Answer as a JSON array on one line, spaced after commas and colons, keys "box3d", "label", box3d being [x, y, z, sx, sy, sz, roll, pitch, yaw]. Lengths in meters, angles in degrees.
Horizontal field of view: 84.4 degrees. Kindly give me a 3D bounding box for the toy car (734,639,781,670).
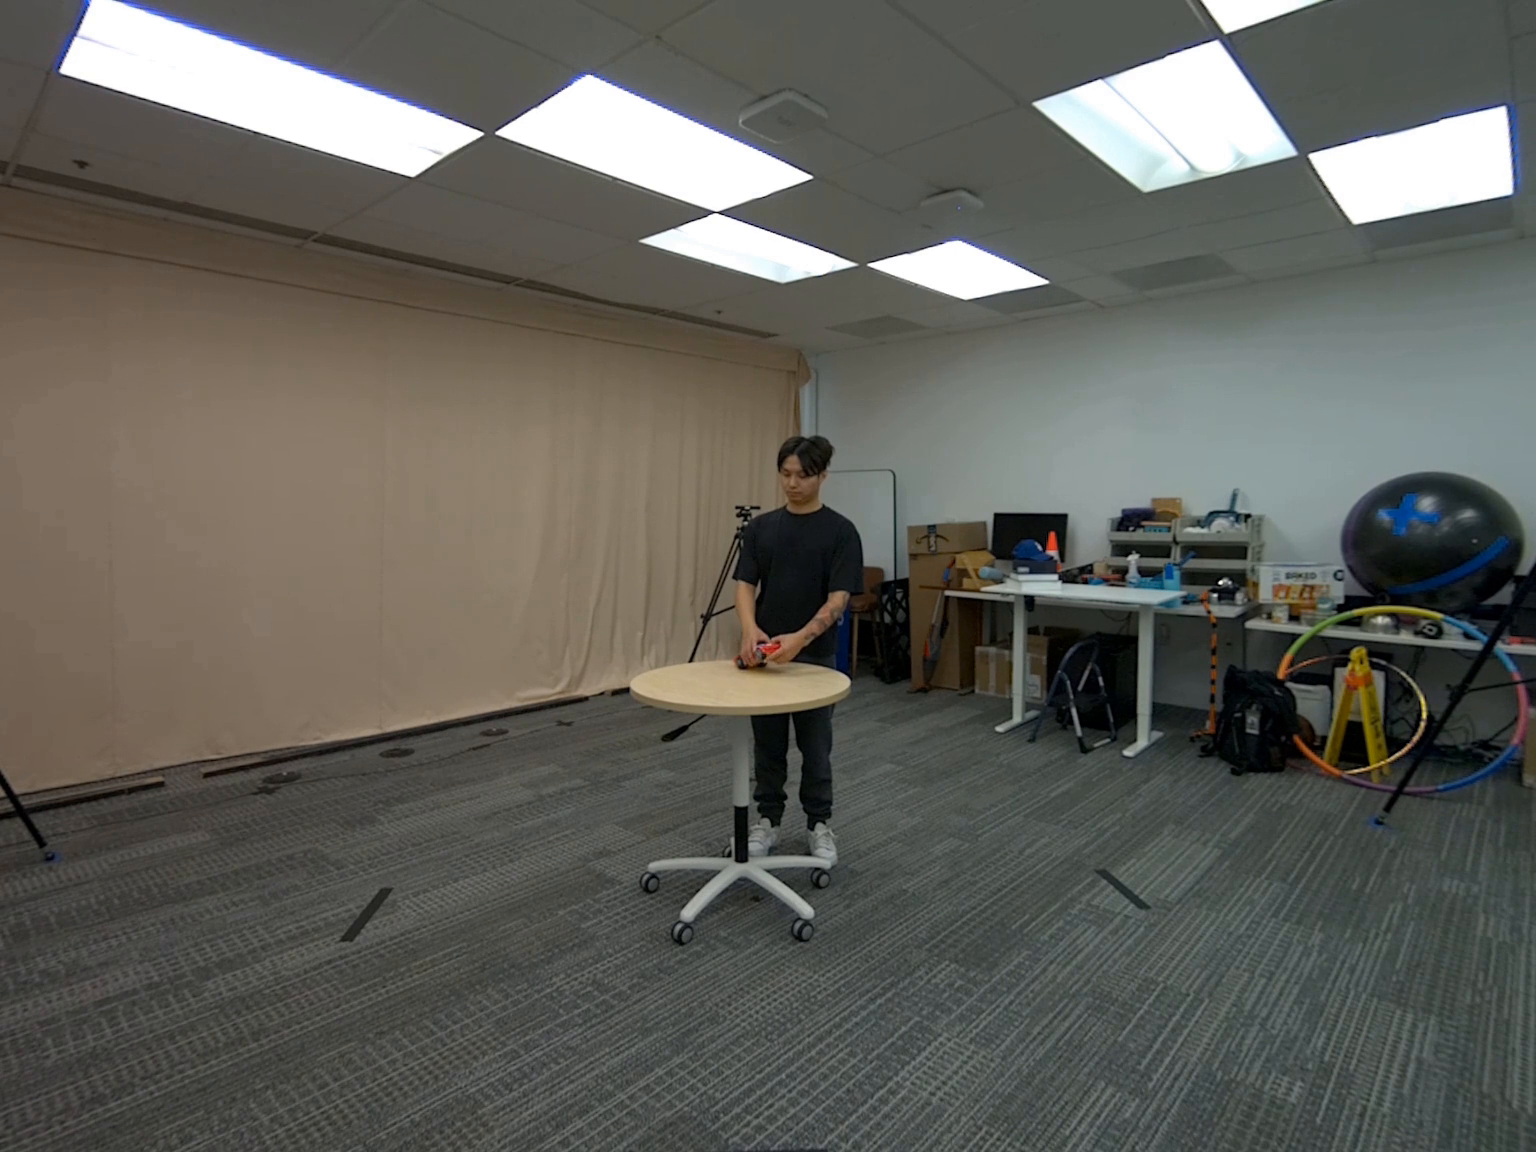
[{"box3d": [-0.039, 0.300, 3.119, 0.126, 0.083, 0.261, -1, -6, -34], "label": "toy car"}]
